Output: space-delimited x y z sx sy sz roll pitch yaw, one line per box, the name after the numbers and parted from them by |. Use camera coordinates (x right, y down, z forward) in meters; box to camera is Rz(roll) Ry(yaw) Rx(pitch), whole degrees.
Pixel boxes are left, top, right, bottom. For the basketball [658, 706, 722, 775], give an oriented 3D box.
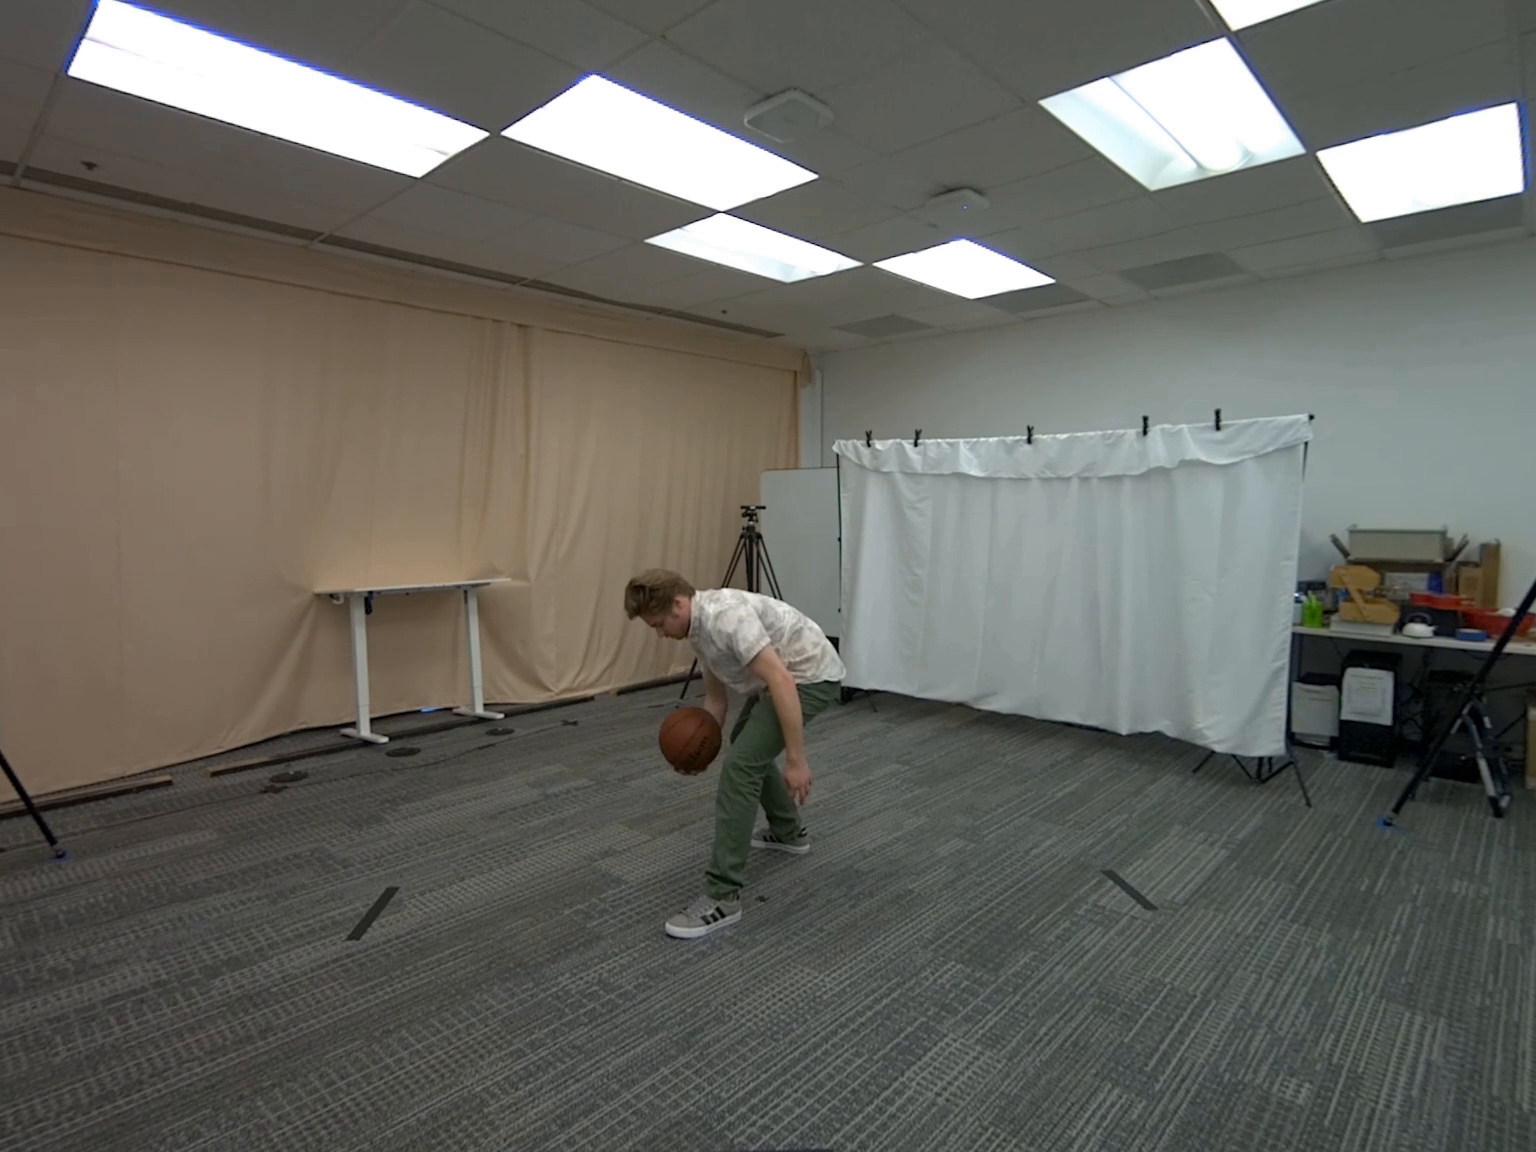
-0.289 0.611 3.168 0.236 0.235 0.237 0 4 -2 | basketball
